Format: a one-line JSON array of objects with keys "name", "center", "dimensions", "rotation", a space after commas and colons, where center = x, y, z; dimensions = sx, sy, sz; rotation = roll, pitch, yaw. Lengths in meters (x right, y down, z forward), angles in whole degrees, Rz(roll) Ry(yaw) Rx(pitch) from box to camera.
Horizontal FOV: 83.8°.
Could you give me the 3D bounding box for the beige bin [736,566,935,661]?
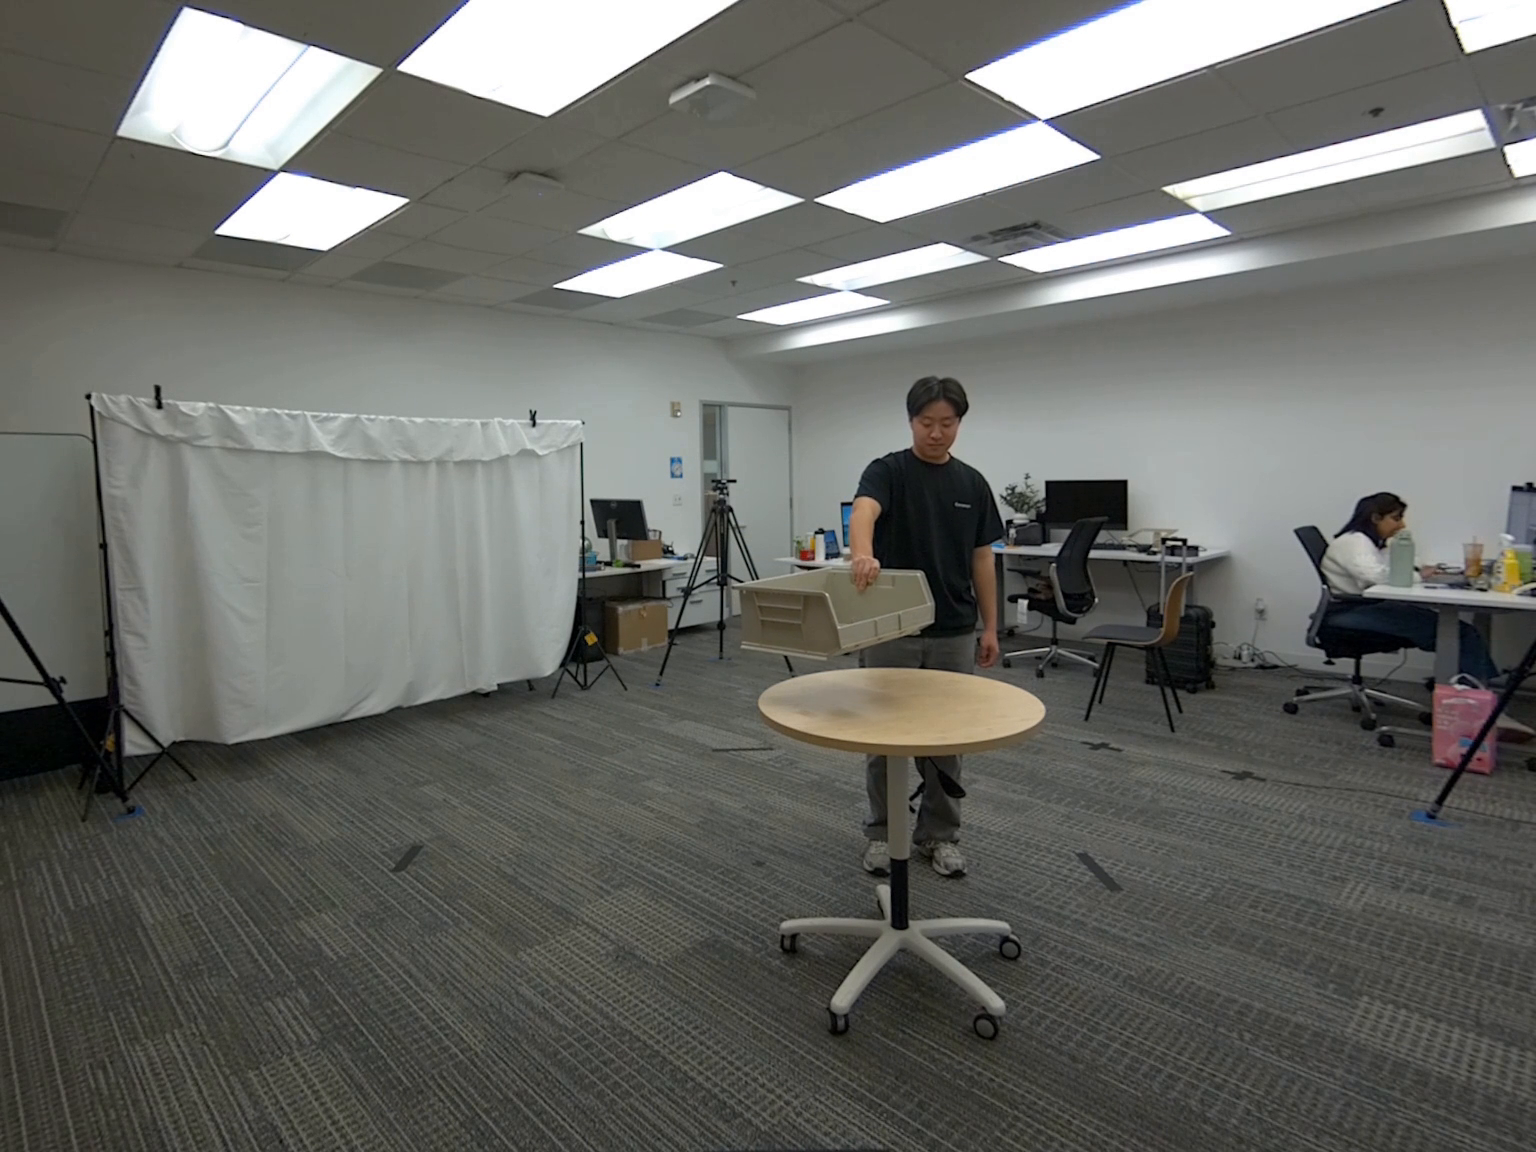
[{"name": "beige bin", "center": [0.187, 0.096, 2.382], "dimensions": [0.412, 0.188, 0.388], "rotation": [-10, 8, -42]}]
